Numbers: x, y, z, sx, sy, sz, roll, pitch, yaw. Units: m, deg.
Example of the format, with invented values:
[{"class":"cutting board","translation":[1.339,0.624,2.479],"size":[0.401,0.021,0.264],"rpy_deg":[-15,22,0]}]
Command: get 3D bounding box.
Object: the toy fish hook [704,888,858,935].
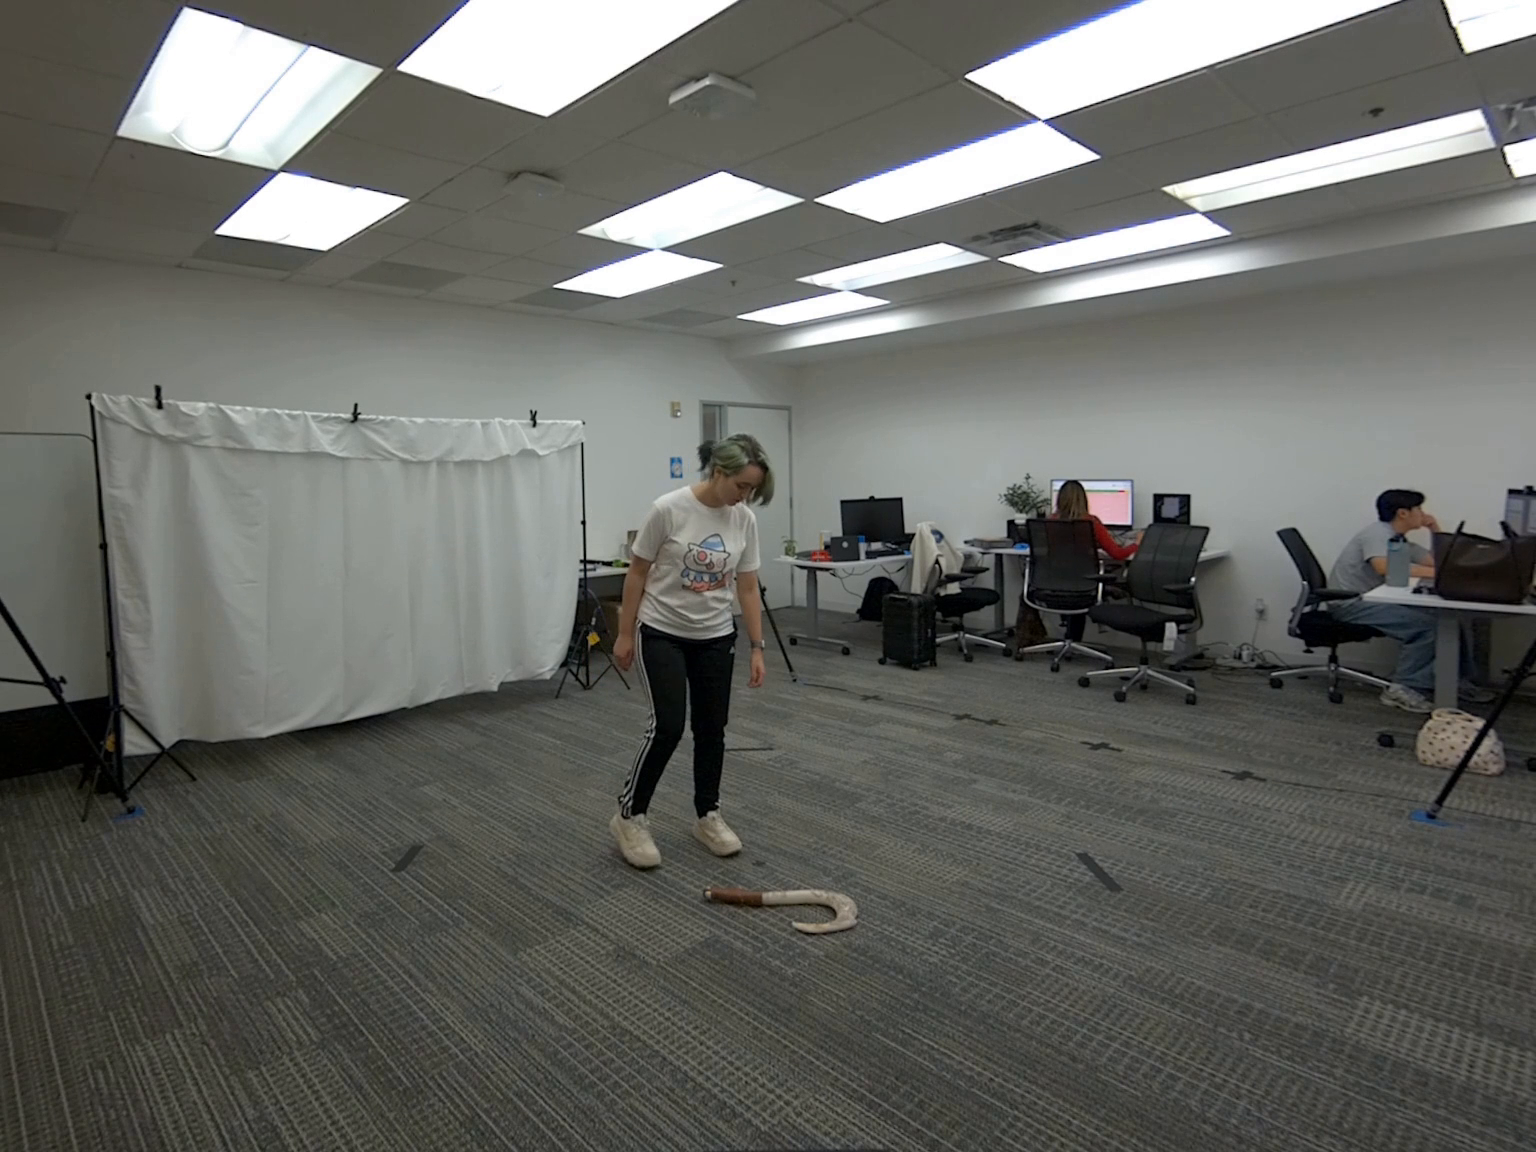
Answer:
[{"class":"toy fish hook","translation":[0.033,1.066,2.743],"size":[0.512,0.048,0.223],"rpy_deg":[0,5,10]}]
